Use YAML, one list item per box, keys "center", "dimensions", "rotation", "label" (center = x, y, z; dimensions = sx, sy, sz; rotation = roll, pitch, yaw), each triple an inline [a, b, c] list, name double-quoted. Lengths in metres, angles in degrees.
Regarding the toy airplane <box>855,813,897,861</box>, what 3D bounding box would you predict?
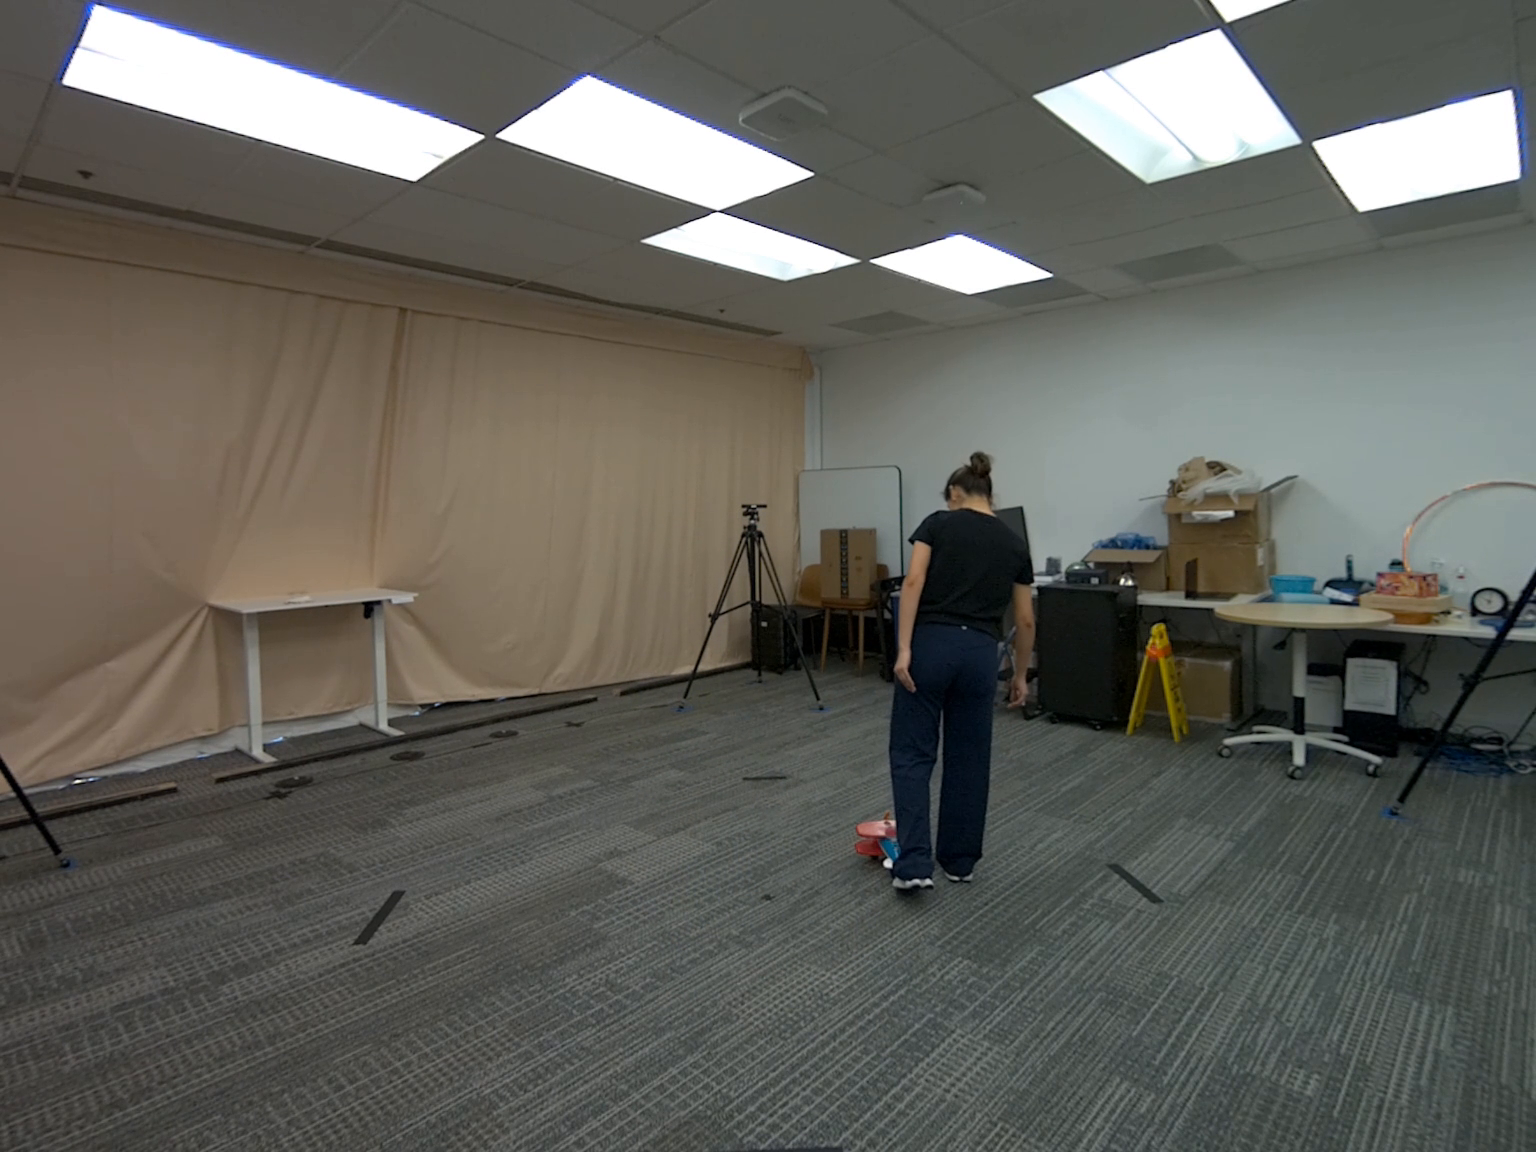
- center: [0.501, 1.036, 3.222]
  dimensions: [0.244, 0.156, 0.267]
  rotation: [-2, 5, -35]
  label: "toy airplane"
